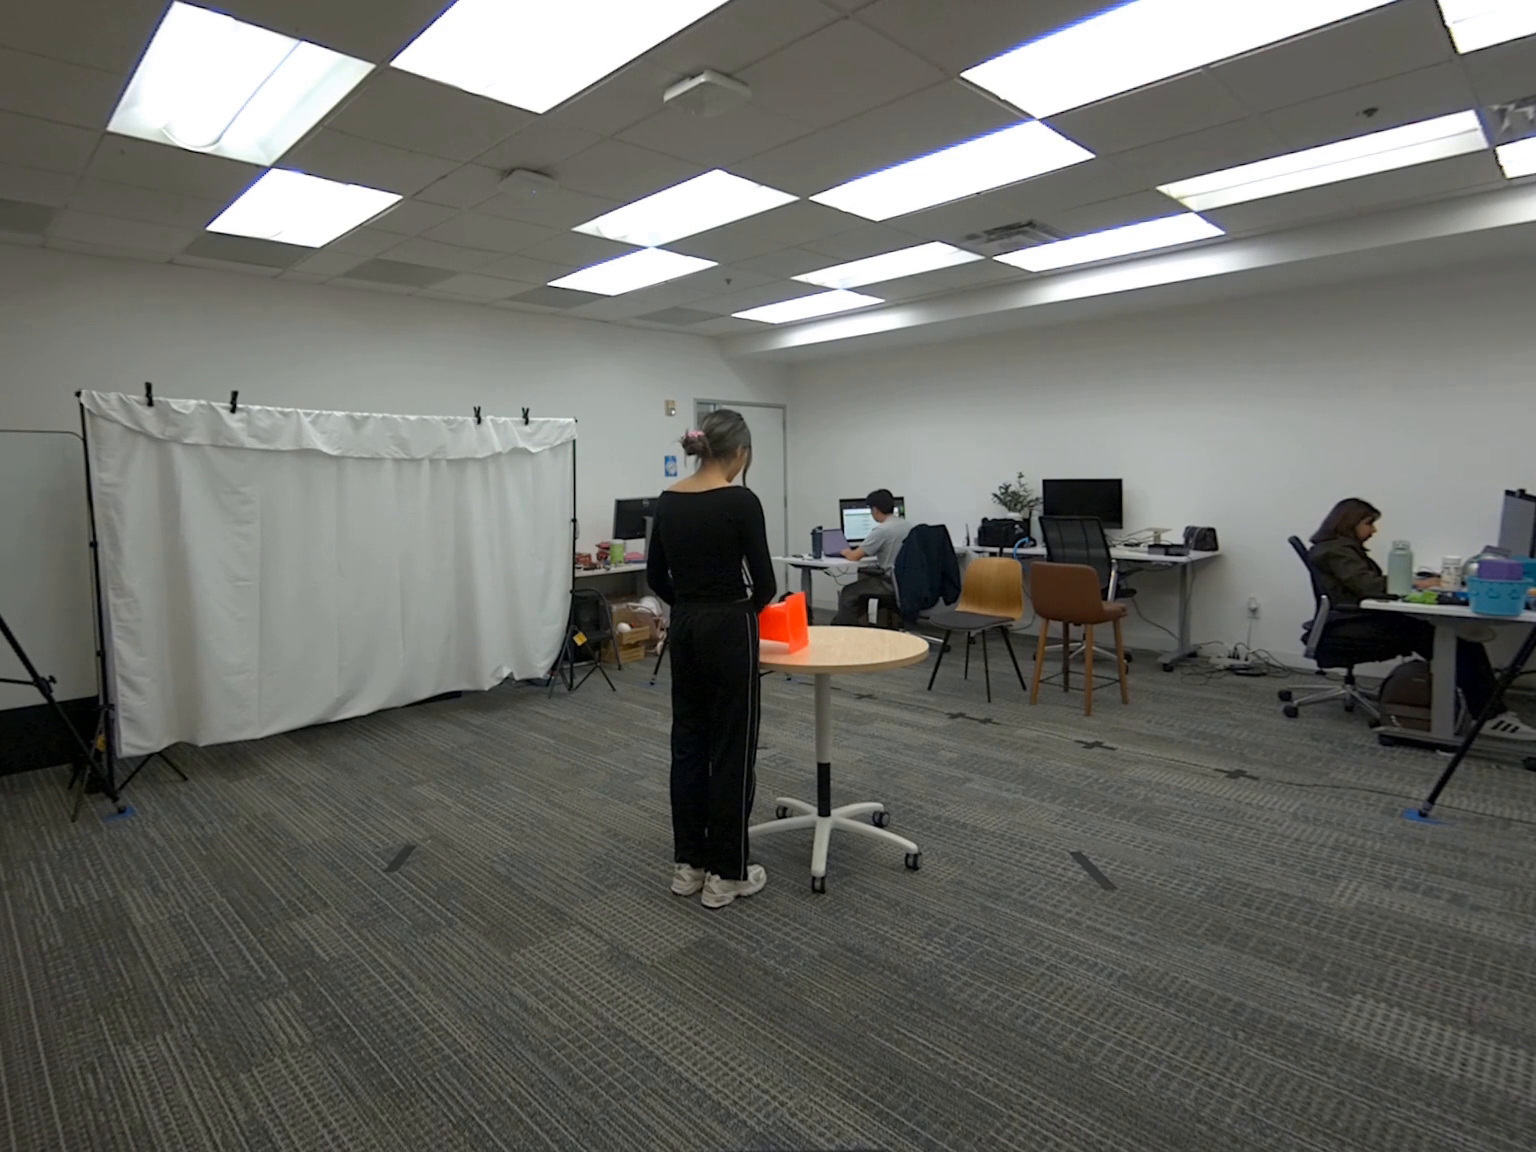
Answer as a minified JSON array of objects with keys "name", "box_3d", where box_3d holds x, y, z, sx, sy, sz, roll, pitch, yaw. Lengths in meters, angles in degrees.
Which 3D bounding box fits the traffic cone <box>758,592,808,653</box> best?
[{"name":"traffic cone","box_3d":[-0.070,0.177,3.119,0.391,0.204,0.200,-5,3,24]}]
